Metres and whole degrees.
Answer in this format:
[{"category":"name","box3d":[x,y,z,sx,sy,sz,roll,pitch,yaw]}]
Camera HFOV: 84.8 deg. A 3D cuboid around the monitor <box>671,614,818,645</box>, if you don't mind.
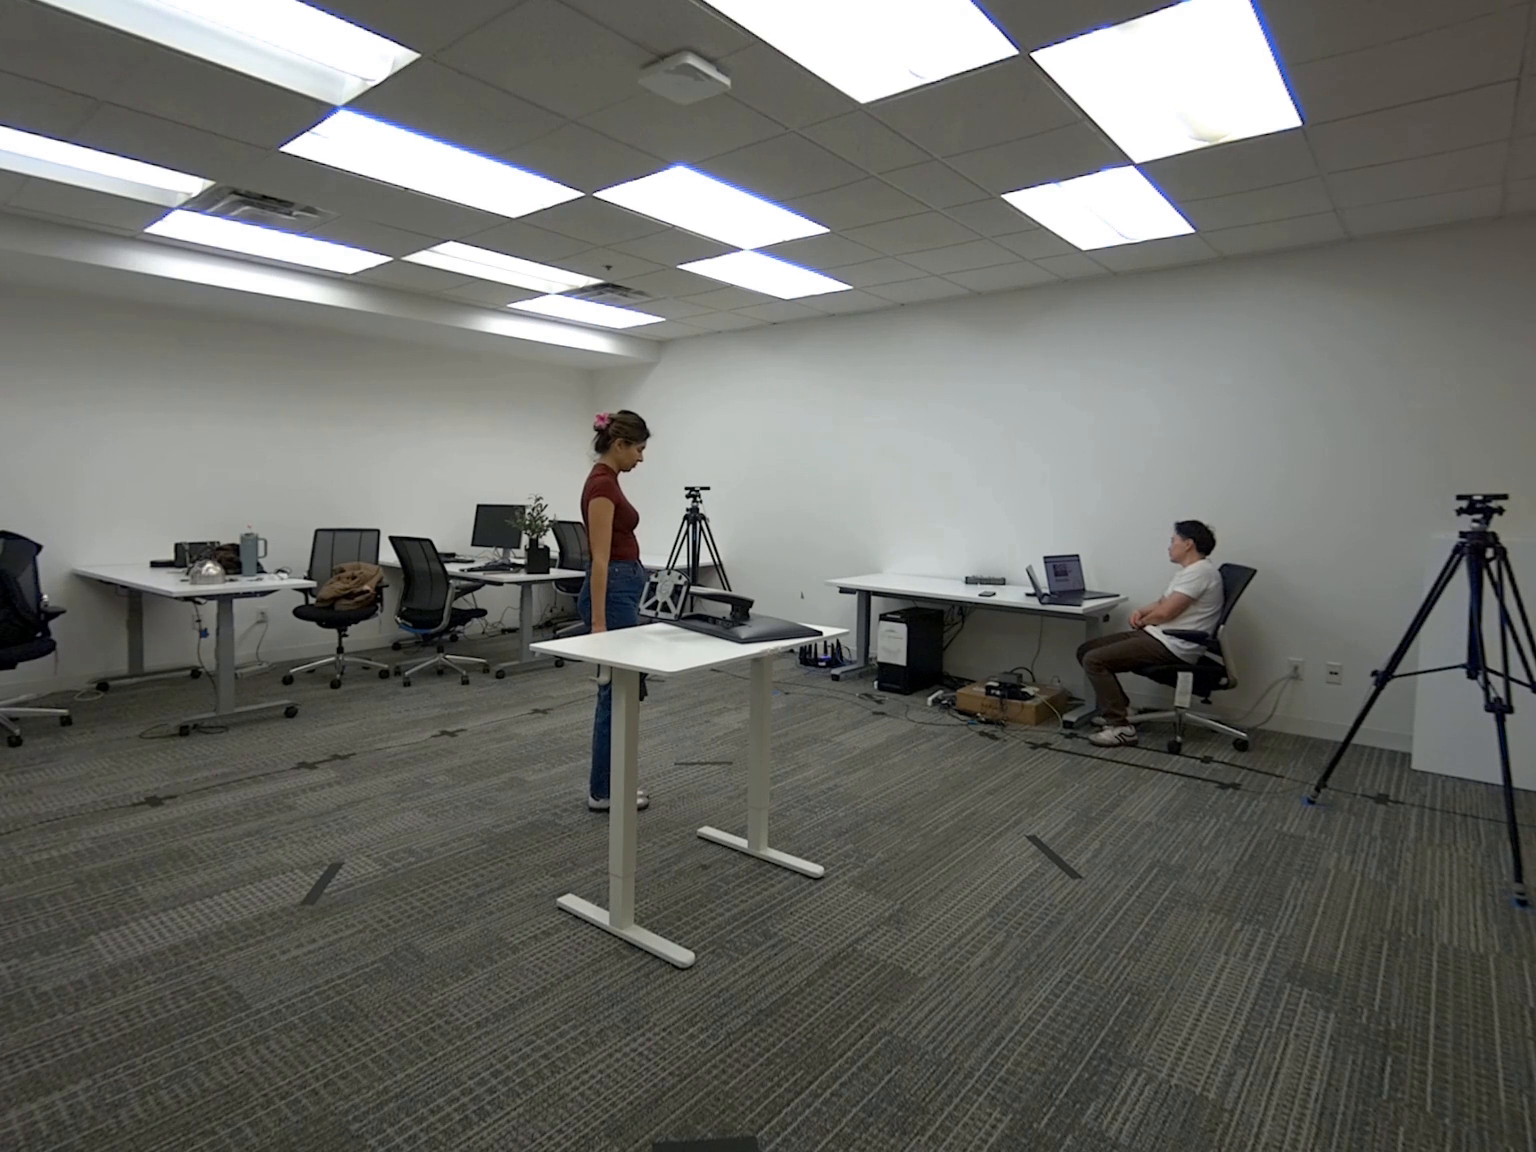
[{"category":"monitor","box3d":[-0.180,0.125,3.048,0.504,0.188,0.557,18,-6,-35]}]
